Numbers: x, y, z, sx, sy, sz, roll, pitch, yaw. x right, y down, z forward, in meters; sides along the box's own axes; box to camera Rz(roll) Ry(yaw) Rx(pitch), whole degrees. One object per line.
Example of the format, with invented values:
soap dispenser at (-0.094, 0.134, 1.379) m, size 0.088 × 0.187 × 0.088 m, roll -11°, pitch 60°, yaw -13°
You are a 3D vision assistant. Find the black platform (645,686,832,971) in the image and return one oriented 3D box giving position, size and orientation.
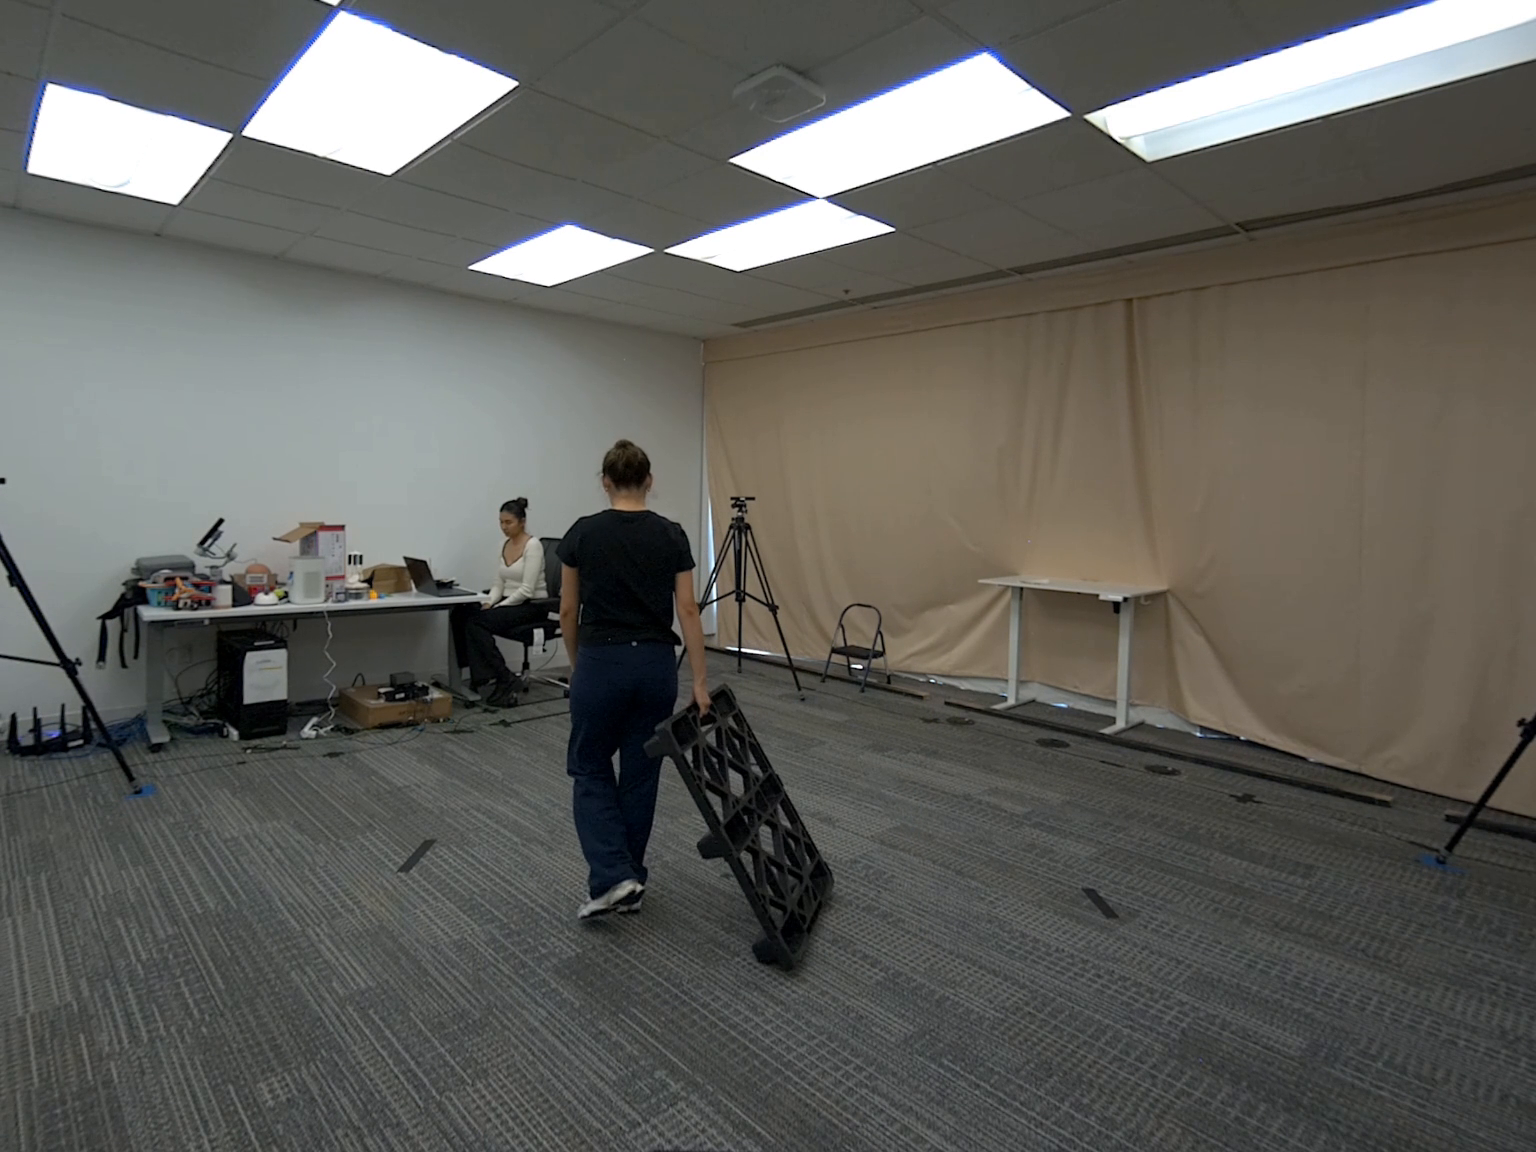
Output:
black platform at (-0.089, 0.793, 2.756) m, size 0.144 × 0.811 × 0.599 m, roll -31°, pitch -5°, yaw 15°
